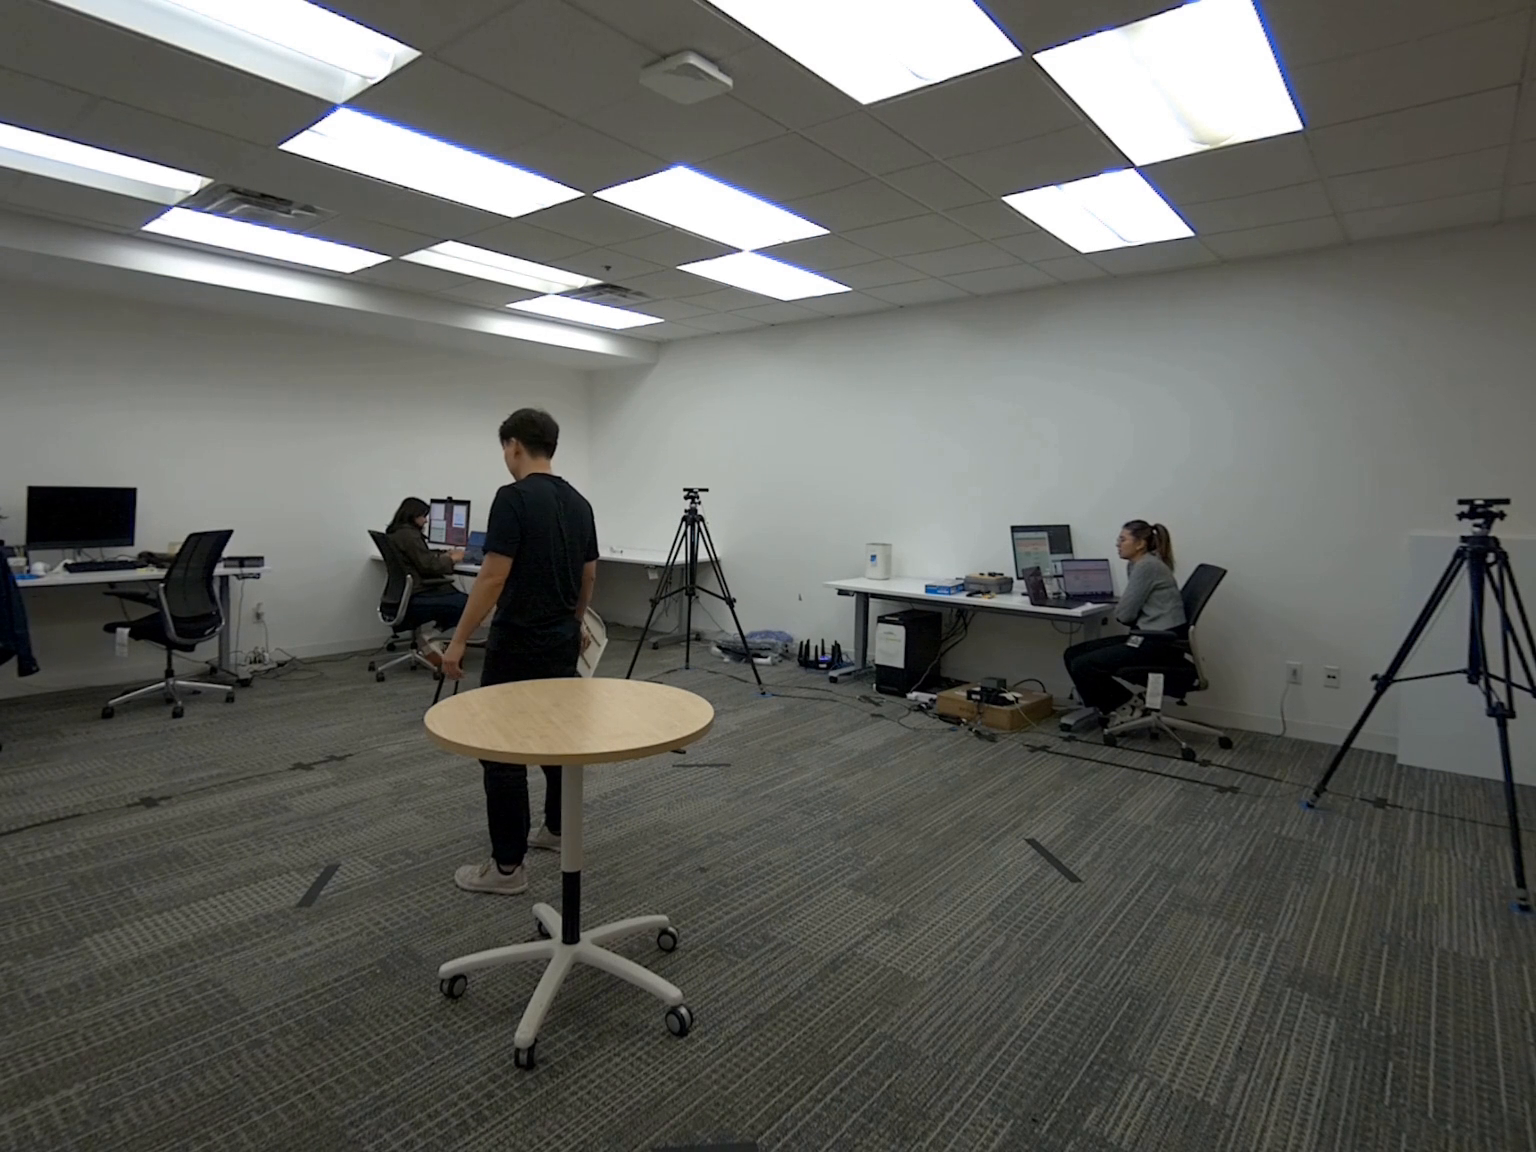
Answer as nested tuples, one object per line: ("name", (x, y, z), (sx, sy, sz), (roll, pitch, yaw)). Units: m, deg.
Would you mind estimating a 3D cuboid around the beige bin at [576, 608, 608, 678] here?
("beige bin", (-0.927, 0.347, 3.561), (0.426, 0.184, 0.384), (-26, 22, 18))
